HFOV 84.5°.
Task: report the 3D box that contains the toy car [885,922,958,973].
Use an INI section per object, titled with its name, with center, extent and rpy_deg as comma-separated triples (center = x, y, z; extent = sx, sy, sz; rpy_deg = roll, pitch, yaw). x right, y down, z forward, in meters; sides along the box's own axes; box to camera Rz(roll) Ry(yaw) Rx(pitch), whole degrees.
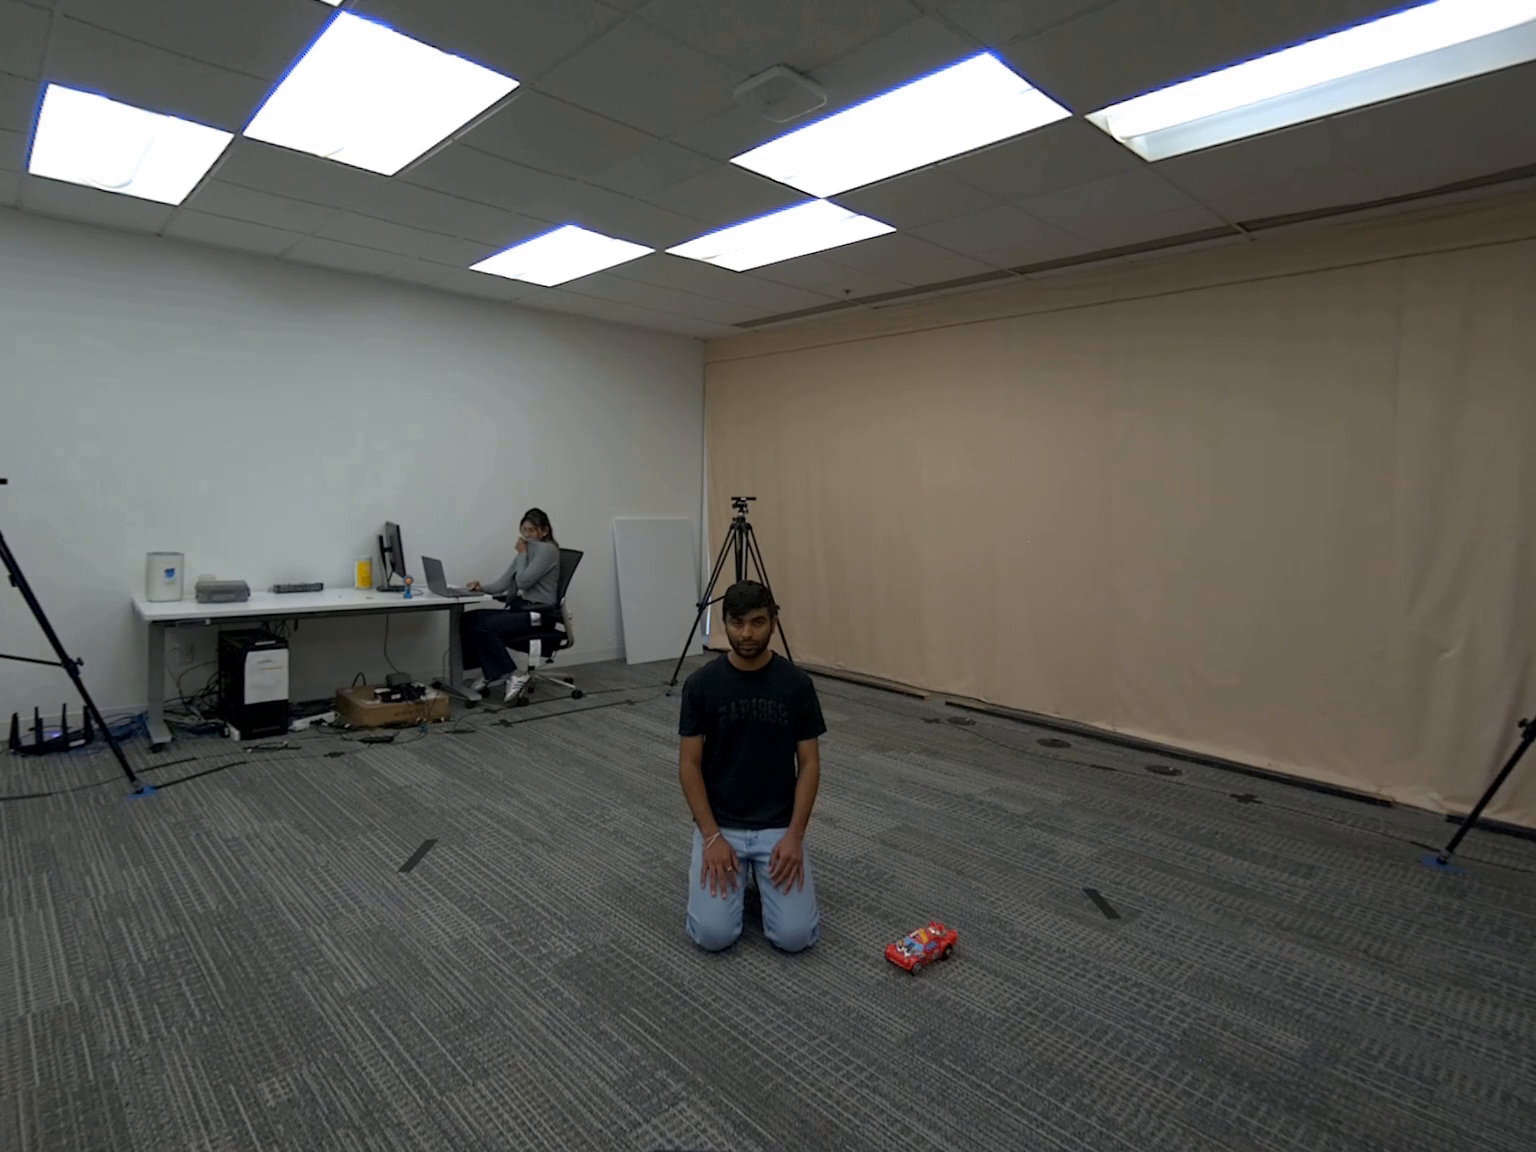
[toy car]
center = 0.474, 1.134, 2.576
extent = 0.250, 0.082, 0.133
rpy_deg = -16, 15, -37
